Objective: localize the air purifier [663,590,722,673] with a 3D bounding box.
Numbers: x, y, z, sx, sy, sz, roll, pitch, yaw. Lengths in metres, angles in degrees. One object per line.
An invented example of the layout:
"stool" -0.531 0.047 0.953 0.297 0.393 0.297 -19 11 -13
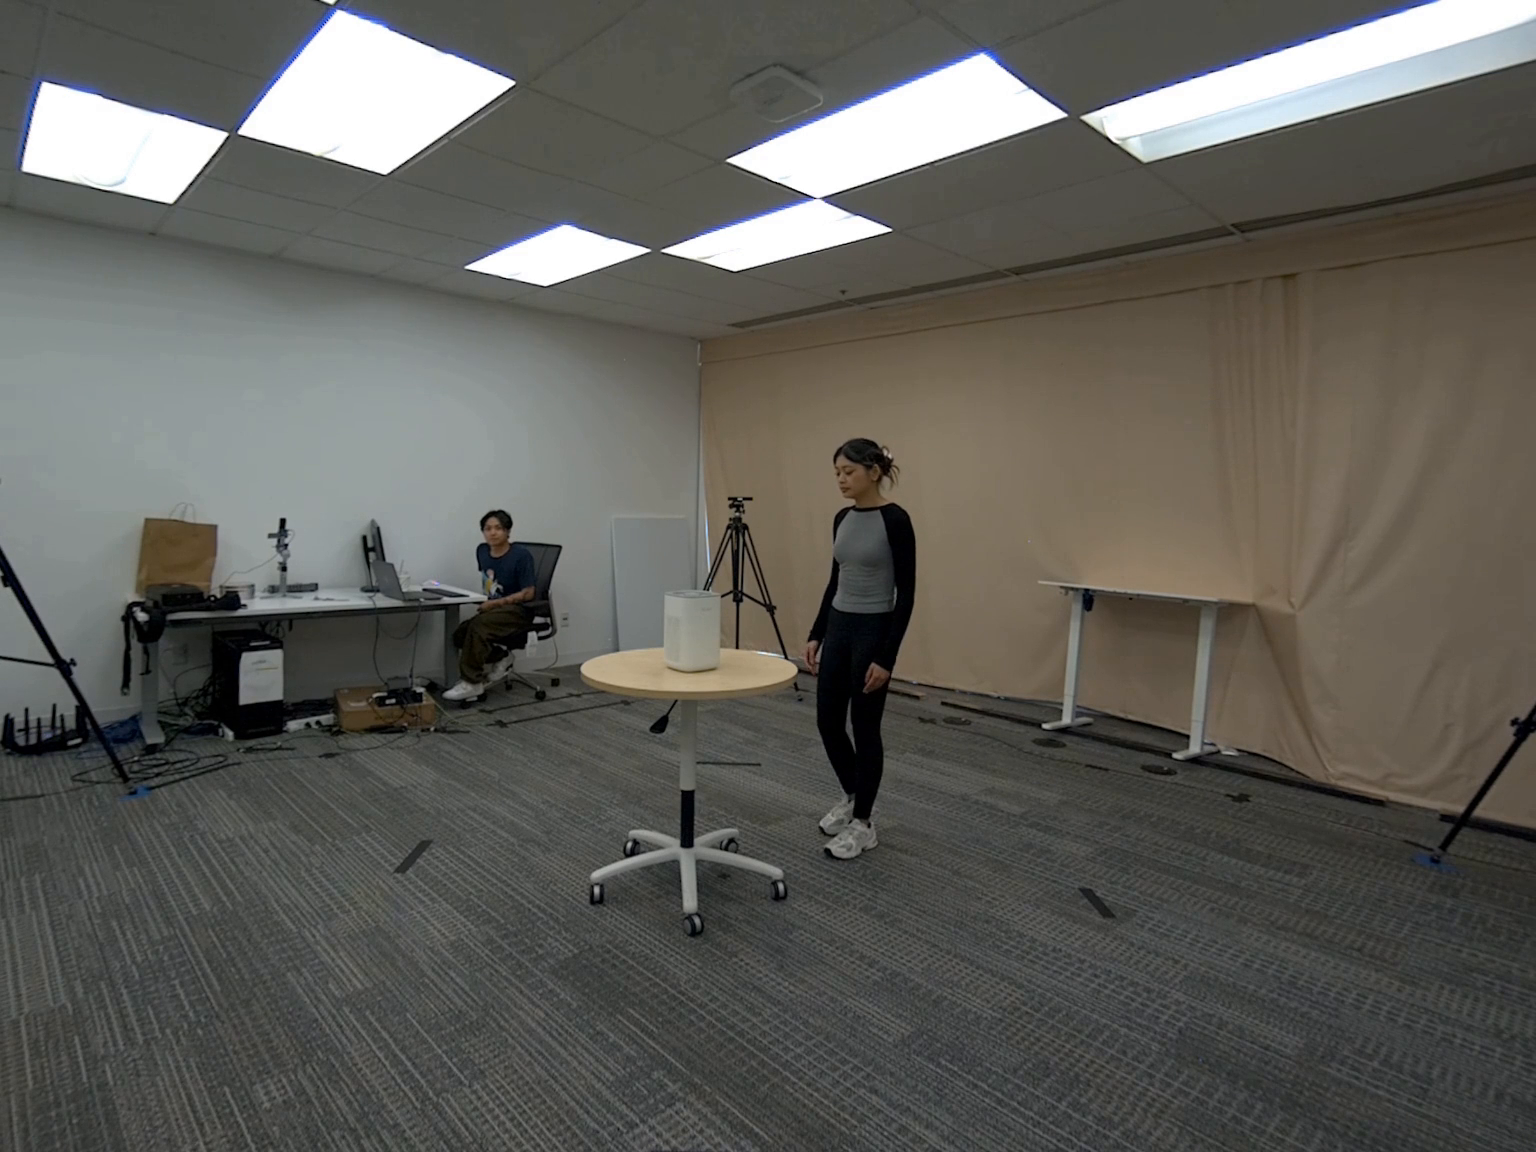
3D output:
"air purifier" -0.270 0.190 2.958 0.167 0.265 0.176 -2 4 -41
